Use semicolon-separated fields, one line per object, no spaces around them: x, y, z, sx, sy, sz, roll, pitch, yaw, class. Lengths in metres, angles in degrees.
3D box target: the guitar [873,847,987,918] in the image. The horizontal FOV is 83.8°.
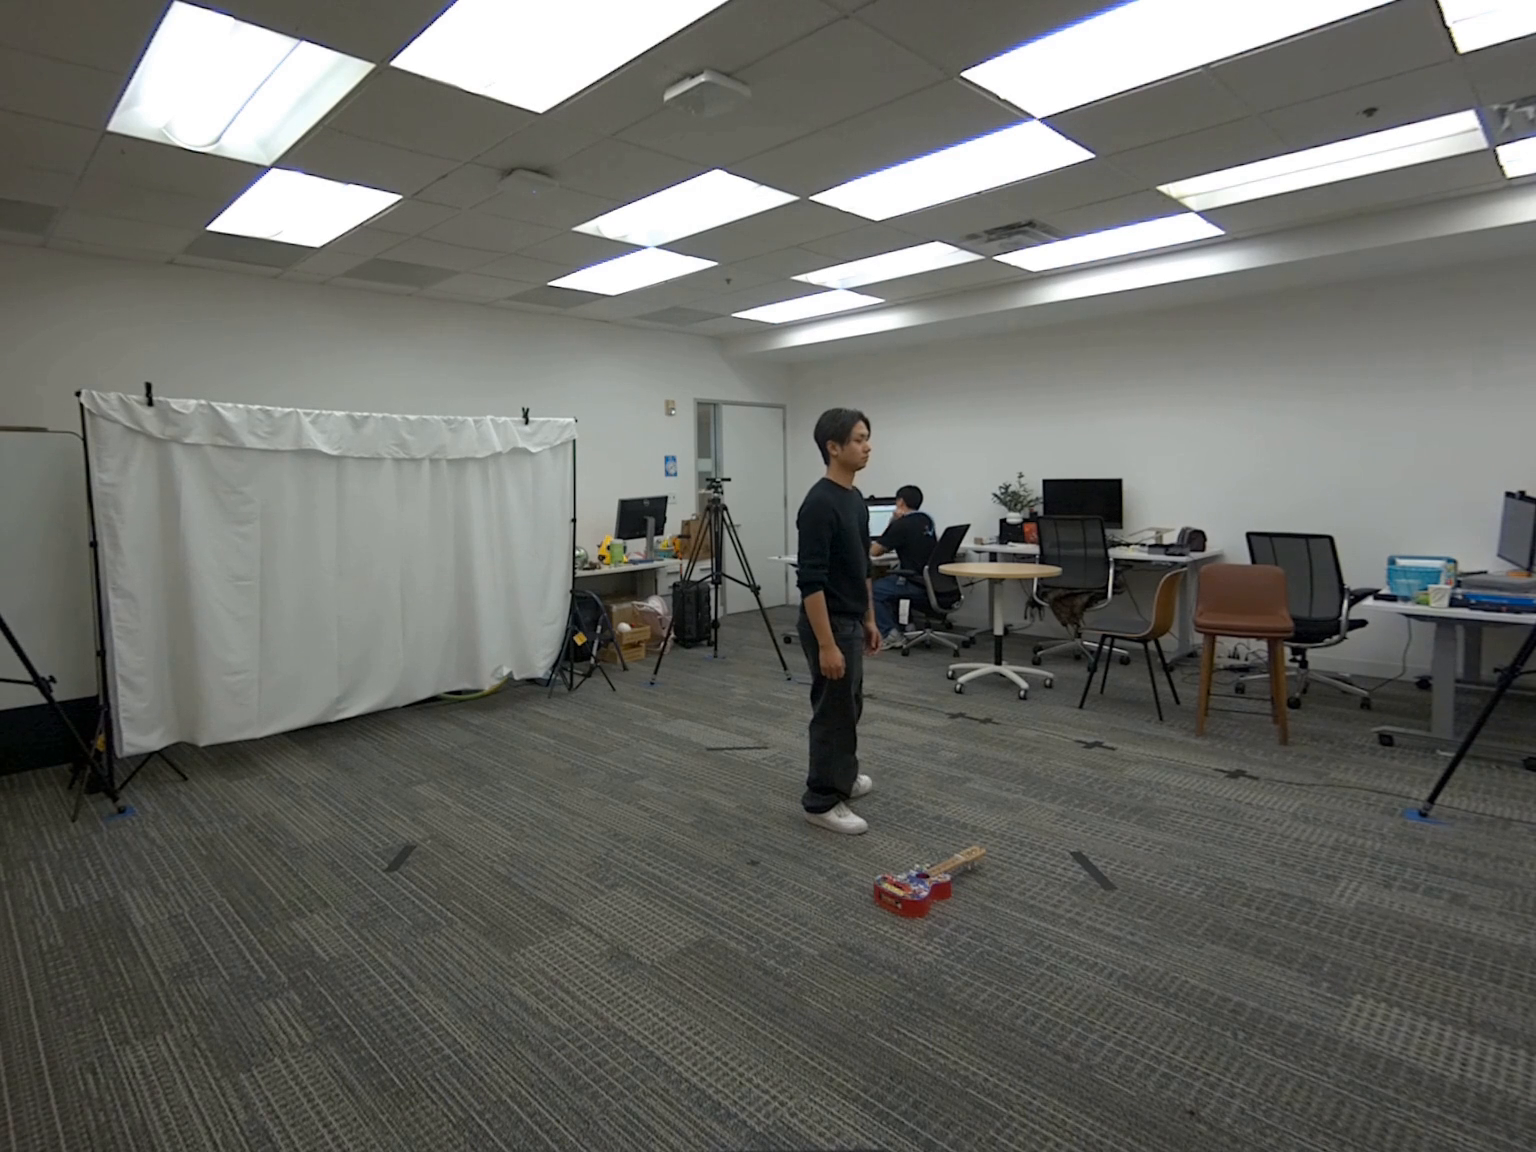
0.594;1.030;2.874;0.486;0.070;0.198;-6;7;-30;guitar
